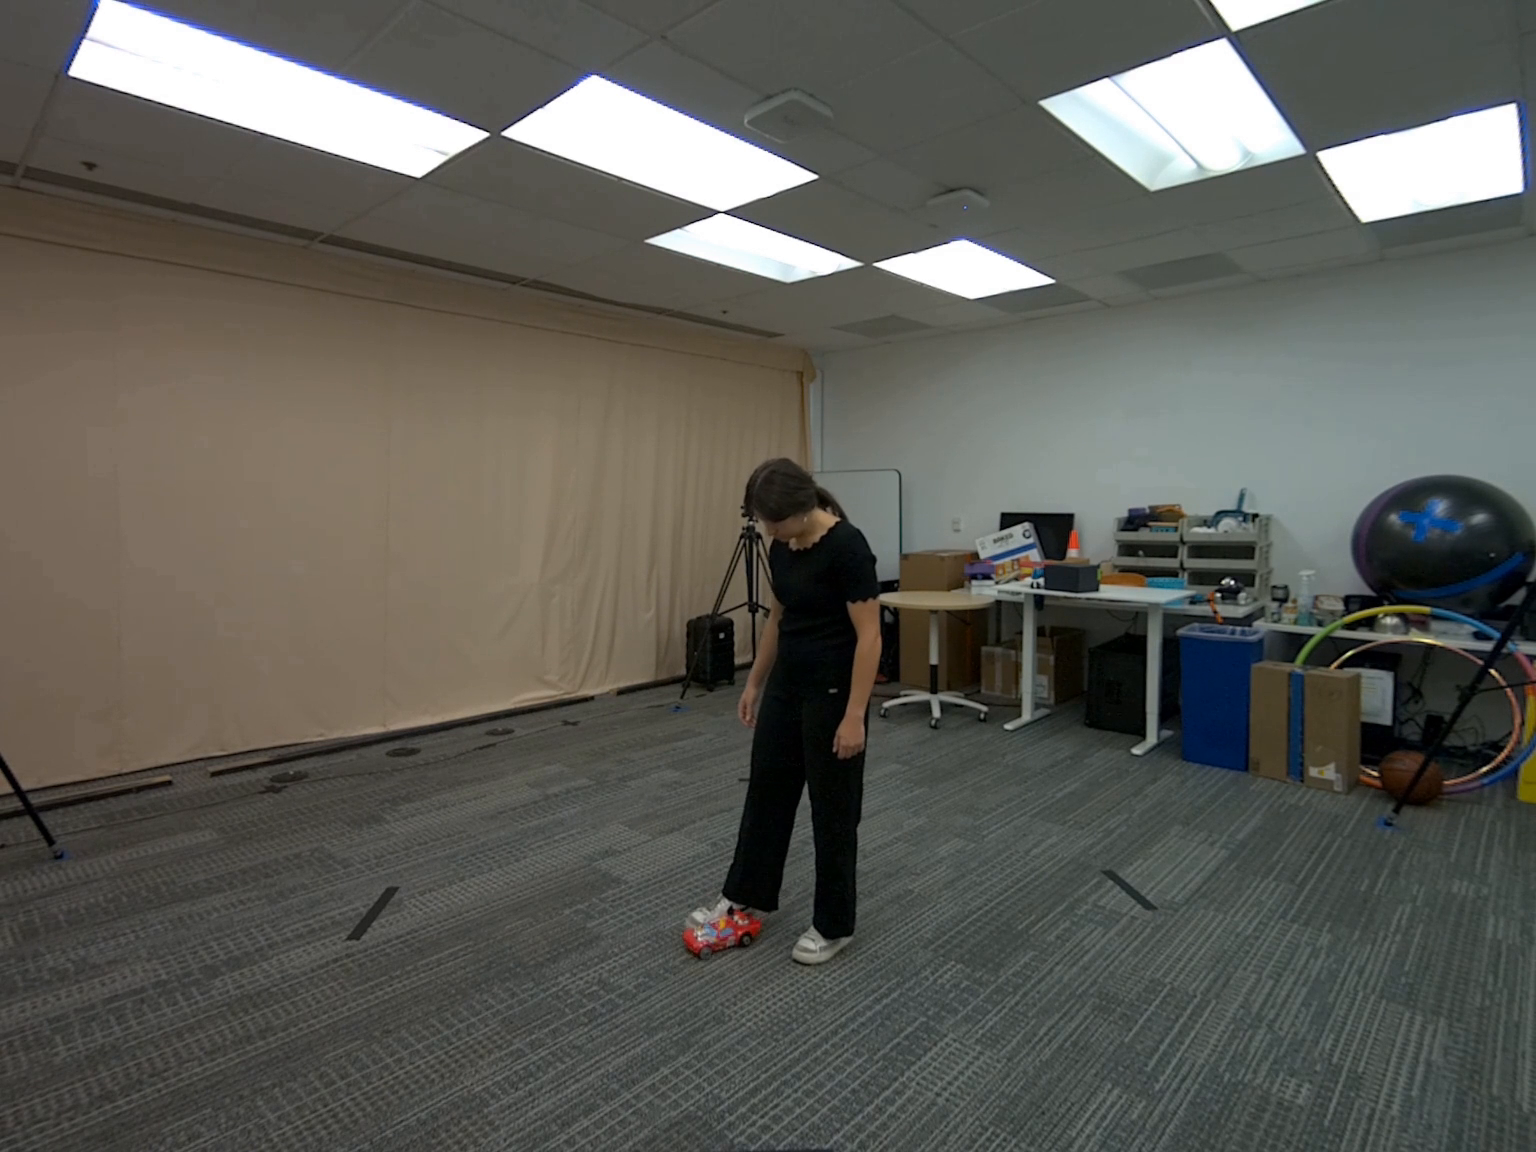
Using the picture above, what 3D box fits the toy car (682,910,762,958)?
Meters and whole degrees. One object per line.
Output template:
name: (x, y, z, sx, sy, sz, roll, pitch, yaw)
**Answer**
toy car: (-0.131, 1.135, 2.683, 0.249, 0.082, 0.134, -14, 11, -27)
